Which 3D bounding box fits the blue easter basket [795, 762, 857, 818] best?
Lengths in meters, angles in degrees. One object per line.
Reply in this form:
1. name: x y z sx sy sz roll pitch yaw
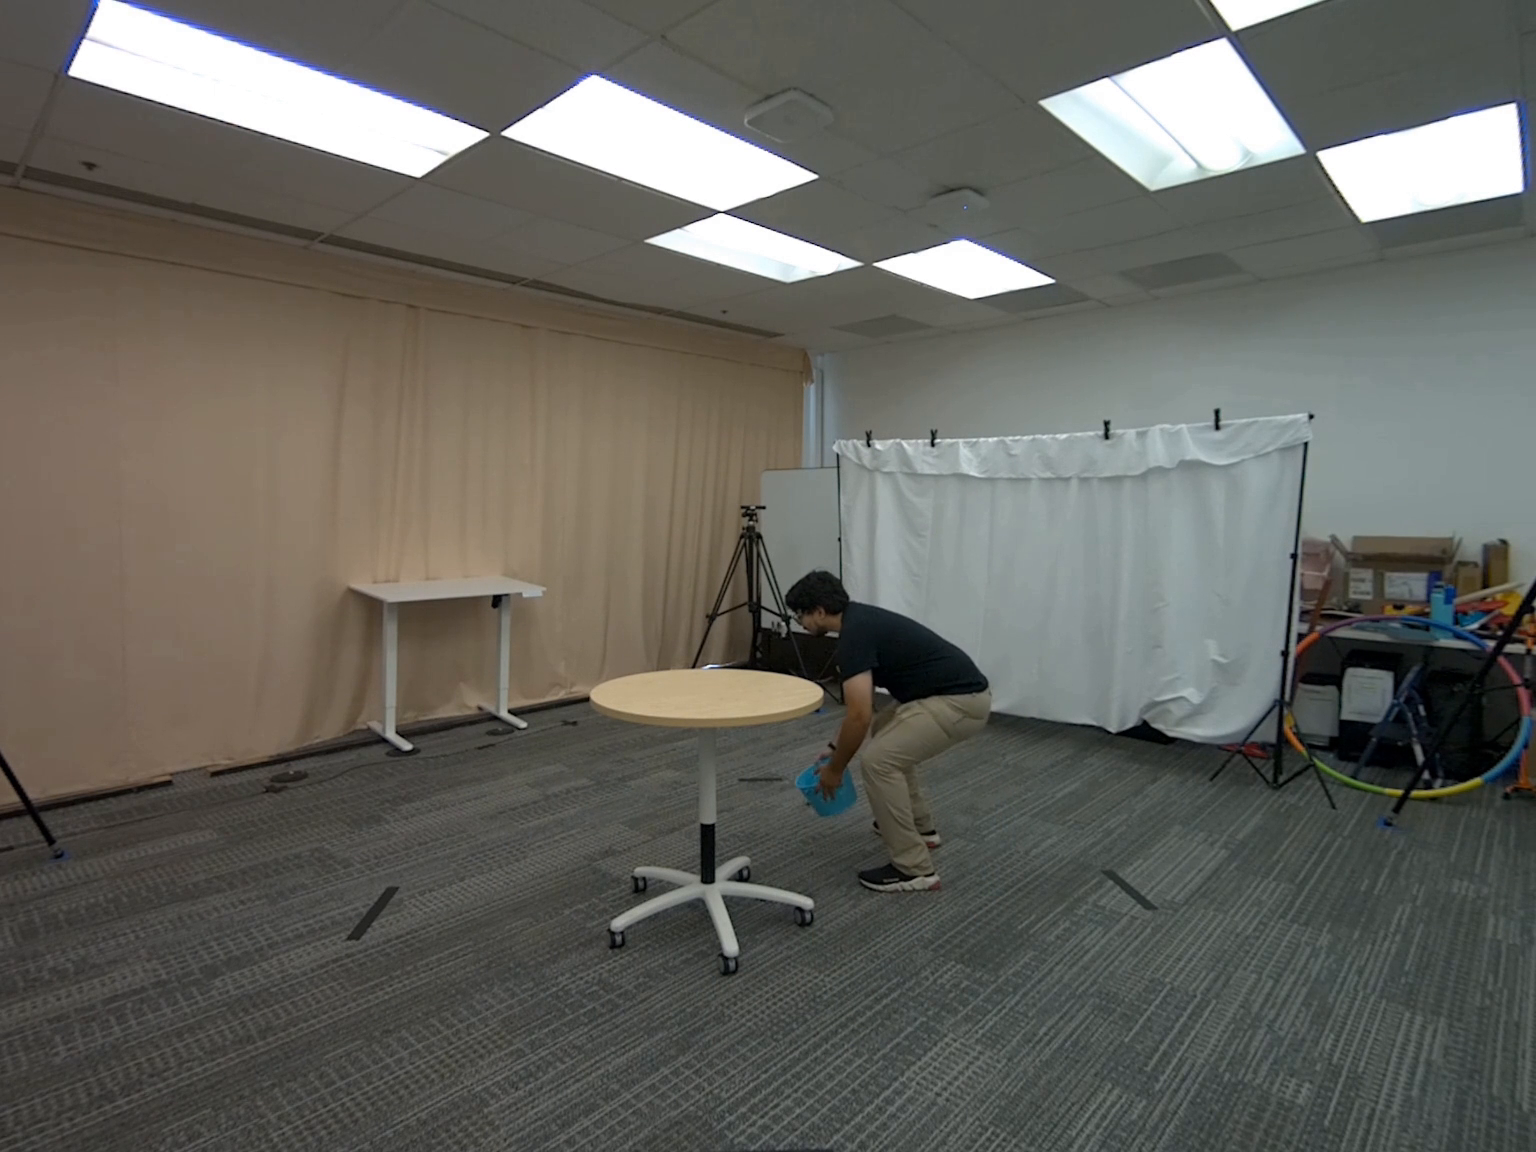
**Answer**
1. blue easter basket: 0.253 0.852 3.404 0.244 0.155 0.245 -23 6 0
